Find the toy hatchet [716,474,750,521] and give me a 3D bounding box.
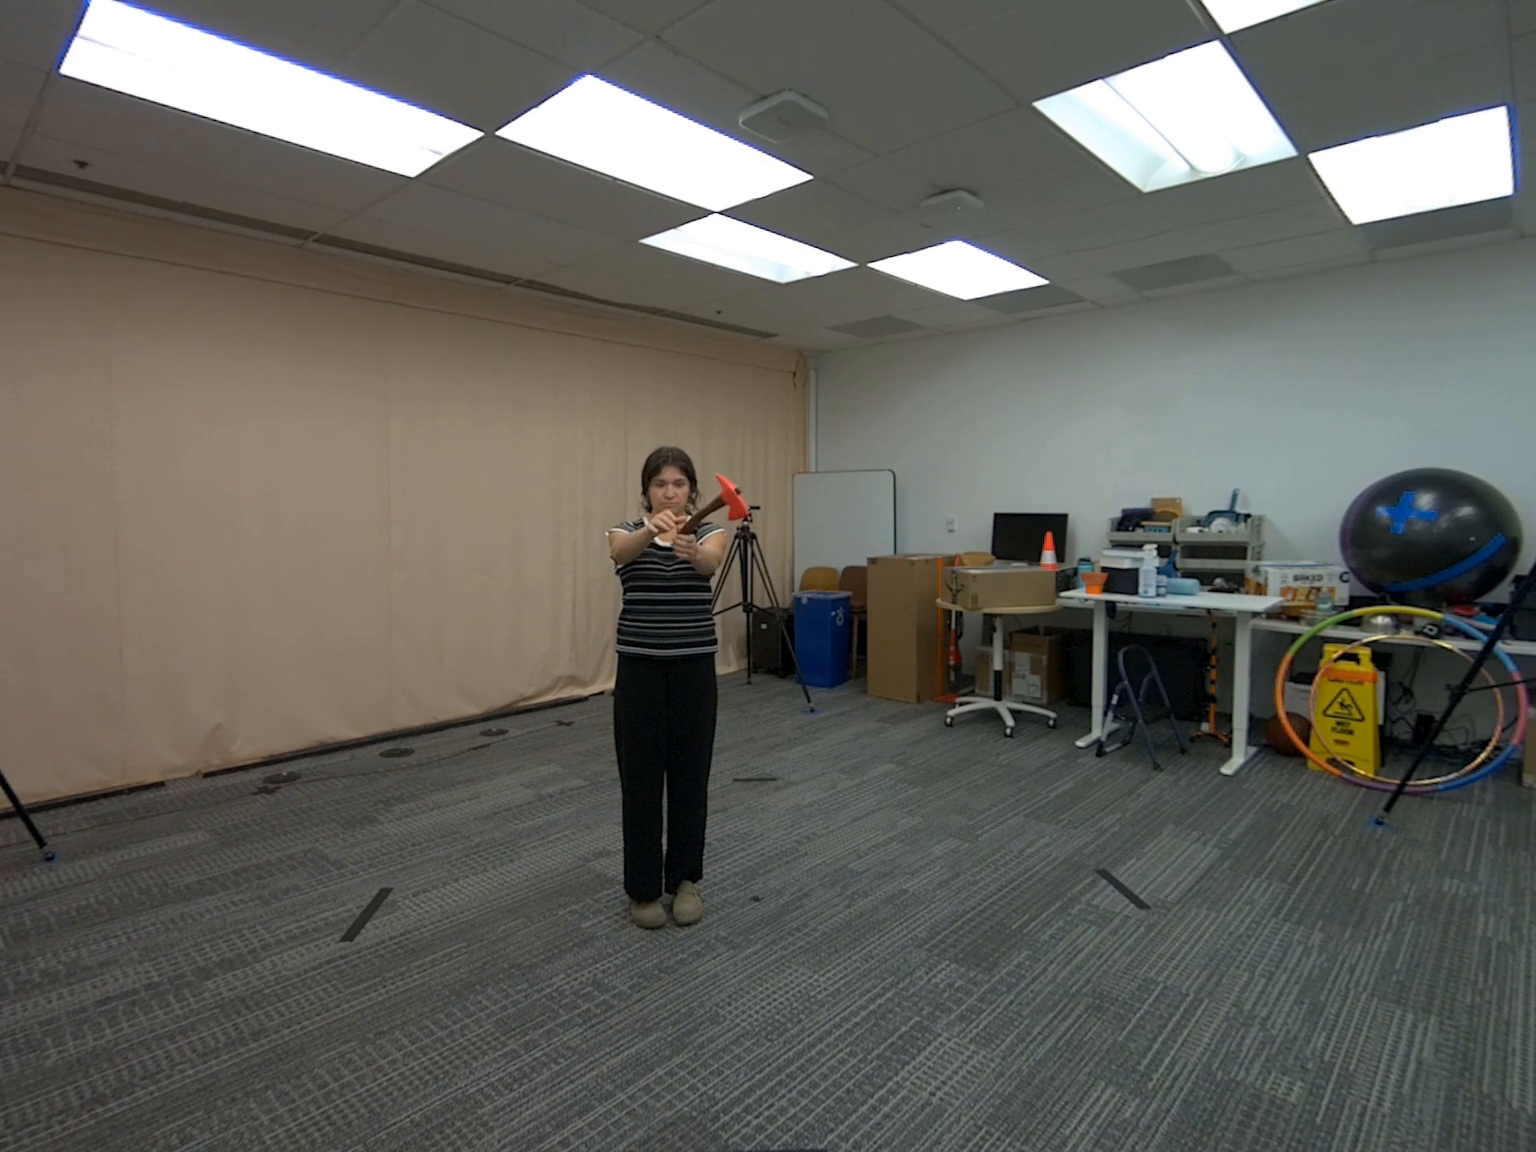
[{"bbox_3d":[-0.157,-0.149,2.274,0.131,0.271,0.029,38,30,0],"label":"toy hatchet"}]
